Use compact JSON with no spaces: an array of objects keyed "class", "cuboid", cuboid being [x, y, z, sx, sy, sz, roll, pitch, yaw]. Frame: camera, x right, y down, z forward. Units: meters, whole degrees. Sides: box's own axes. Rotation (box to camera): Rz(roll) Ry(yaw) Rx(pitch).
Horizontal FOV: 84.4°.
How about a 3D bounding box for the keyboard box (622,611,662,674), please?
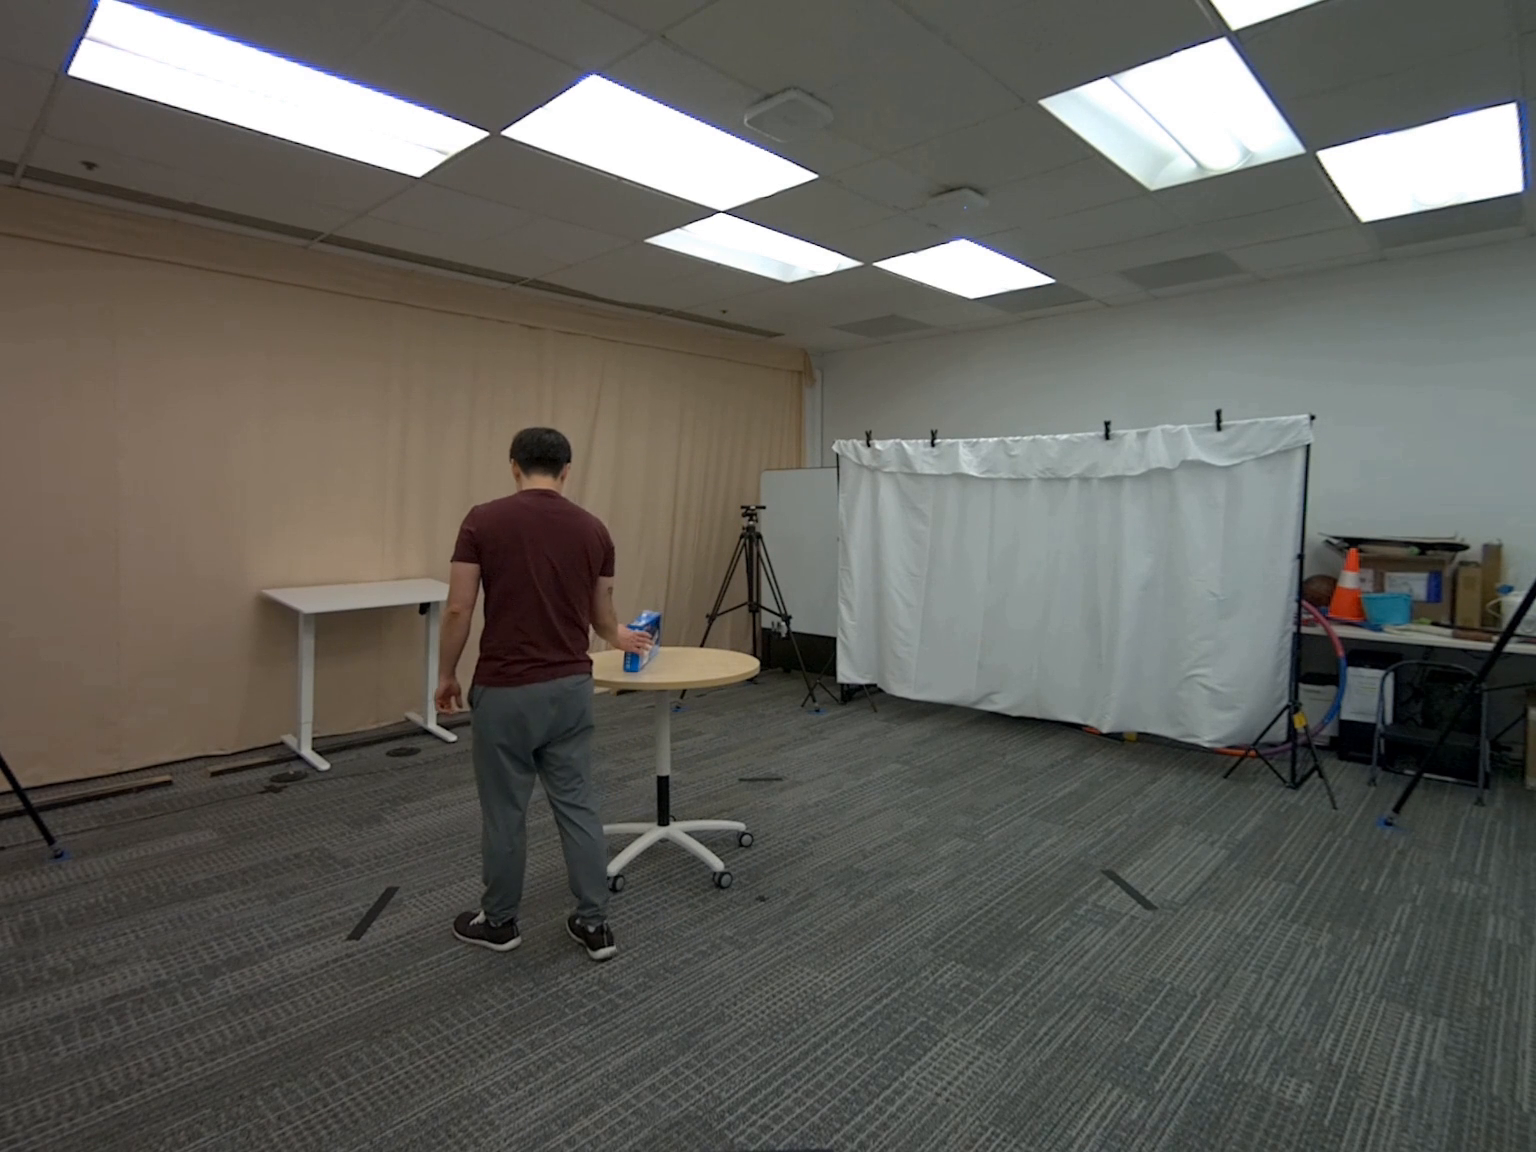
[{"class":"keyboard box","cuboid":[-0.487,0.251,3.307,0.059,0.175,0.435,6,5,3]}]
